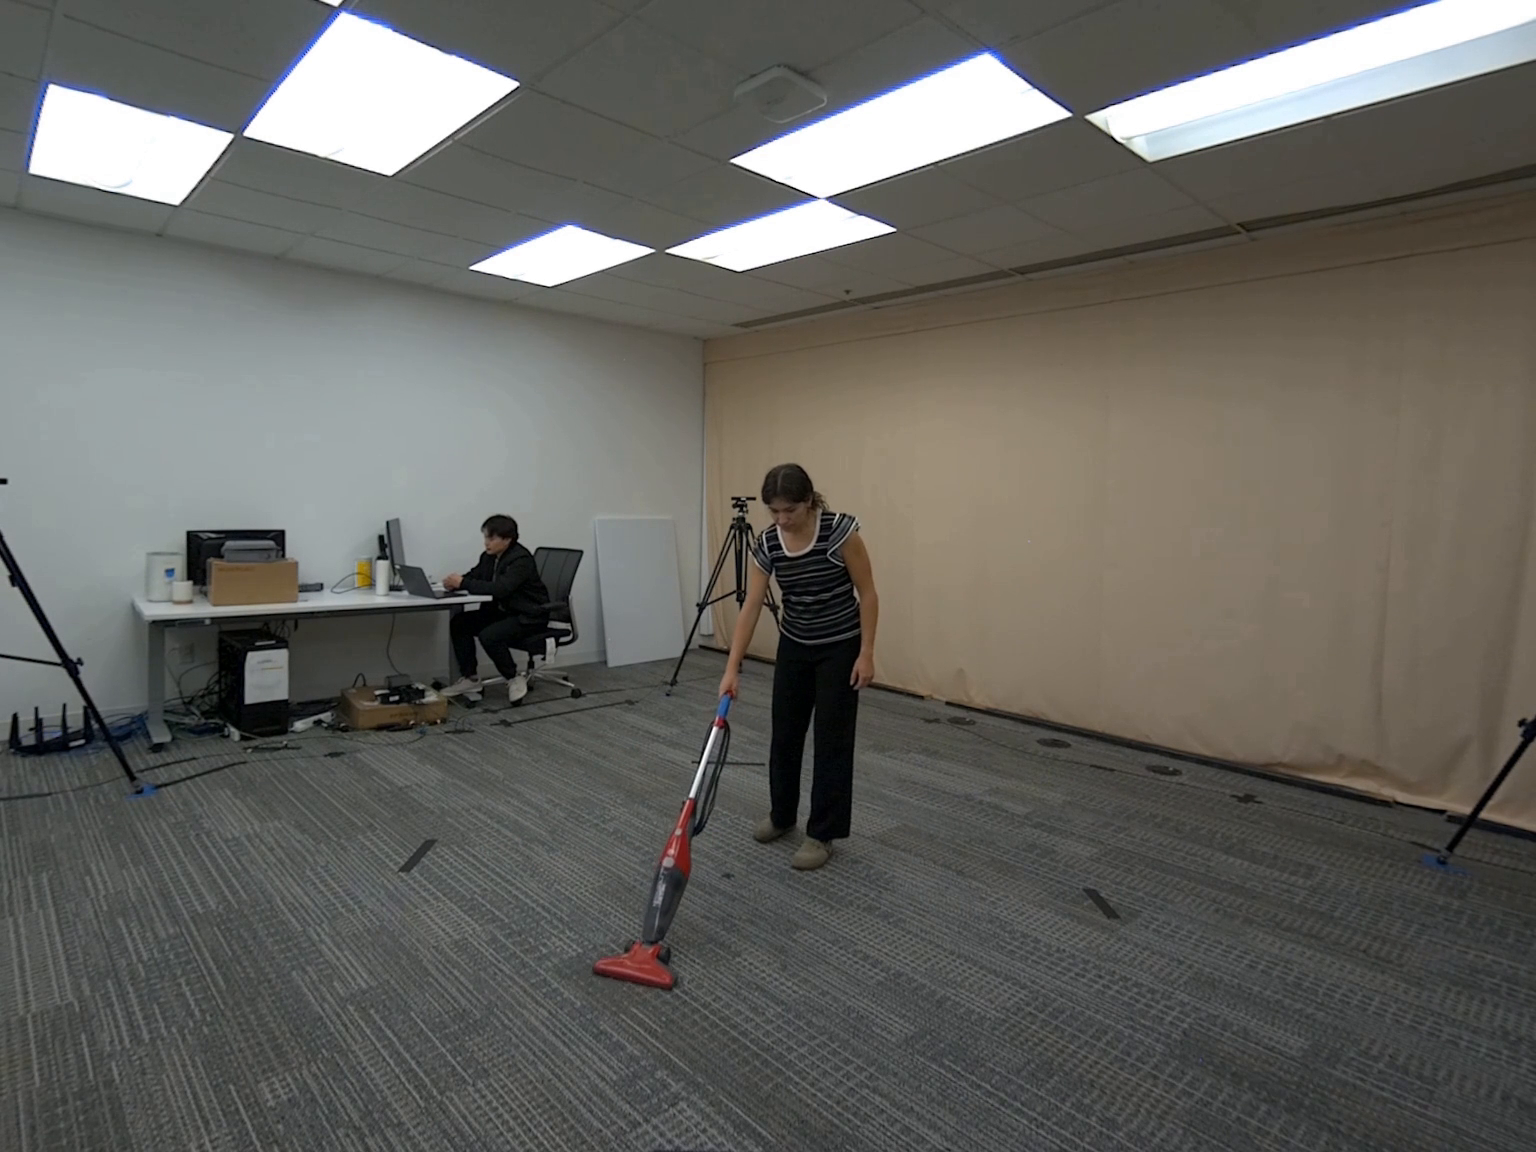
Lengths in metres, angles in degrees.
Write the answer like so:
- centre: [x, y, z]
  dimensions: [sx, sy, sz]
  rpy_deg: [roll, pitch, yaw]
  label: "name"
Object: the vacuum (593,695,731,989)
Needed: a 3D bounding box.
- centre: [-0.249, 0.783, 2.835]
  dimensions: [0.256, 0.140, 1.062]
  rpy_deg: [0, 43, 20]
  label: "vacuum"
